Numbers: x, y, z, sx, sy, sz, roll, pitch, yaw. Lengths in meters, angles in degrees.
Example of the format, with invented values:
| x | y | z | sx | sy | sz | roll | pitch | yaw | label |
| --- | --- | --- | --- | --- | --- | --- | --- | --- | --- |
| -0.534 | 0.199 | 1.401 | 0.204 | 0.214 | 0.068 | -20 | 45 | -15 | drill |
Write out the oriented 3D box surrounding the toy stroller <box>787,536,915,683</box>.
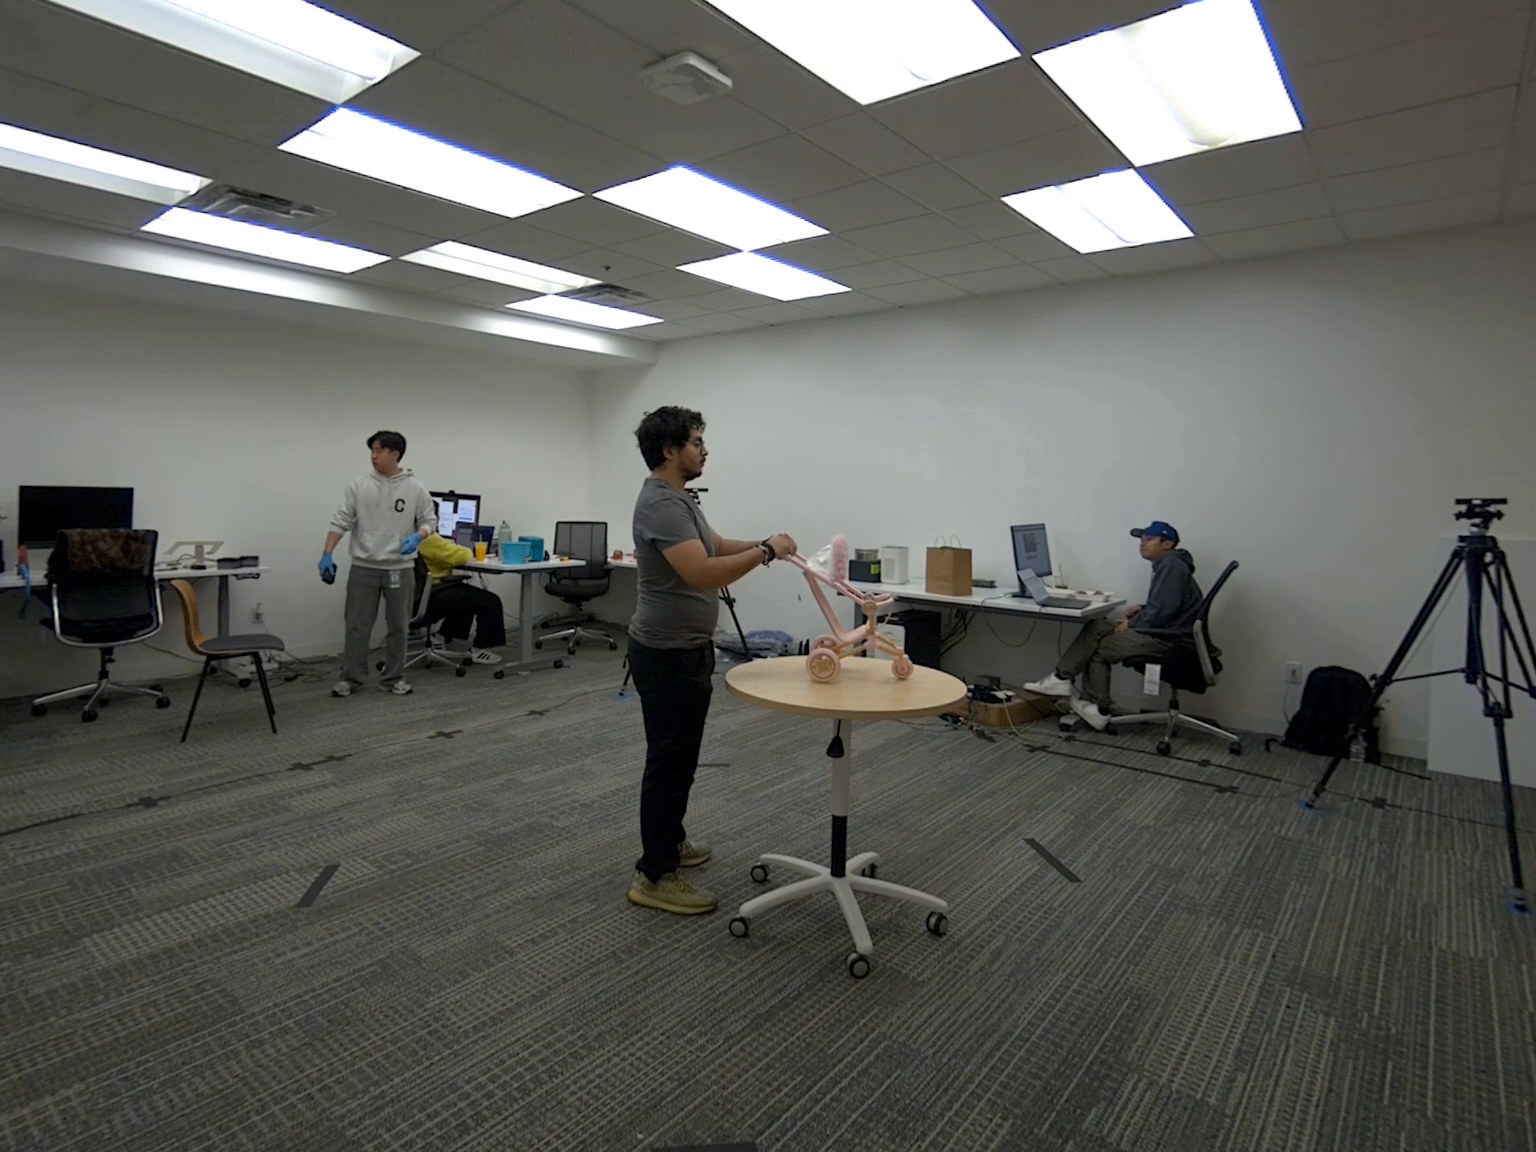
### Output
| x | y | z | sx | sy | sz | roll | pitch | yaw | label |
| --- | --- | --- | --- | --- | --- | --- | --- | --- | --- |
| 0.248 | 0.109 | 2.787 | 0.345 | 0.535 | 0.278 | -14 | 0 | 14 | toy stroller |
